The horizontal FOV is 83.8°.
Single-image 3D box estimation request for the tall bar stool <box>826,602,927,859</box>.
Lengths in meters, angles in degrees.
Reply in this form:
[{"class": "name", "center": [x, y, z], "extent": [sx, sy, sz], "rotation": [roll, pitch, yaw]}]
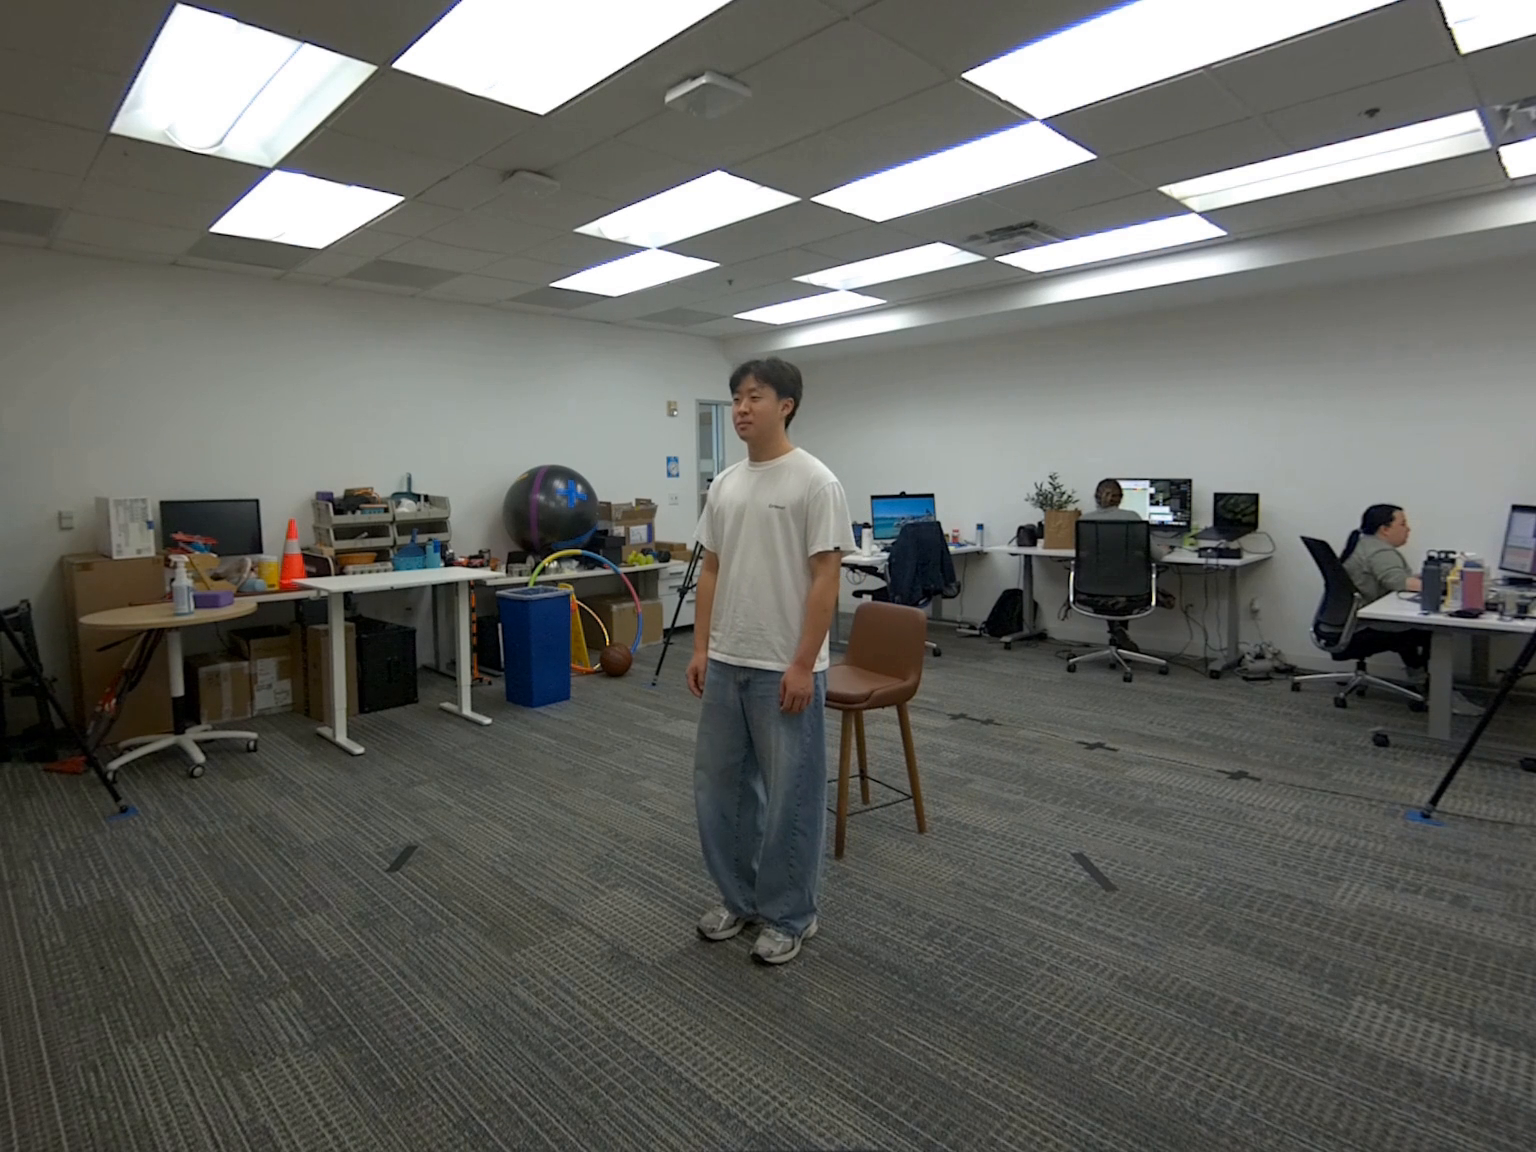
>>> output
[{"class": "tall bar stool", "center": [0.339, 0.569, 3.389], "extent": [0.456, 0.887, 0.469], "rotation": [-1, 4, -32]}]
